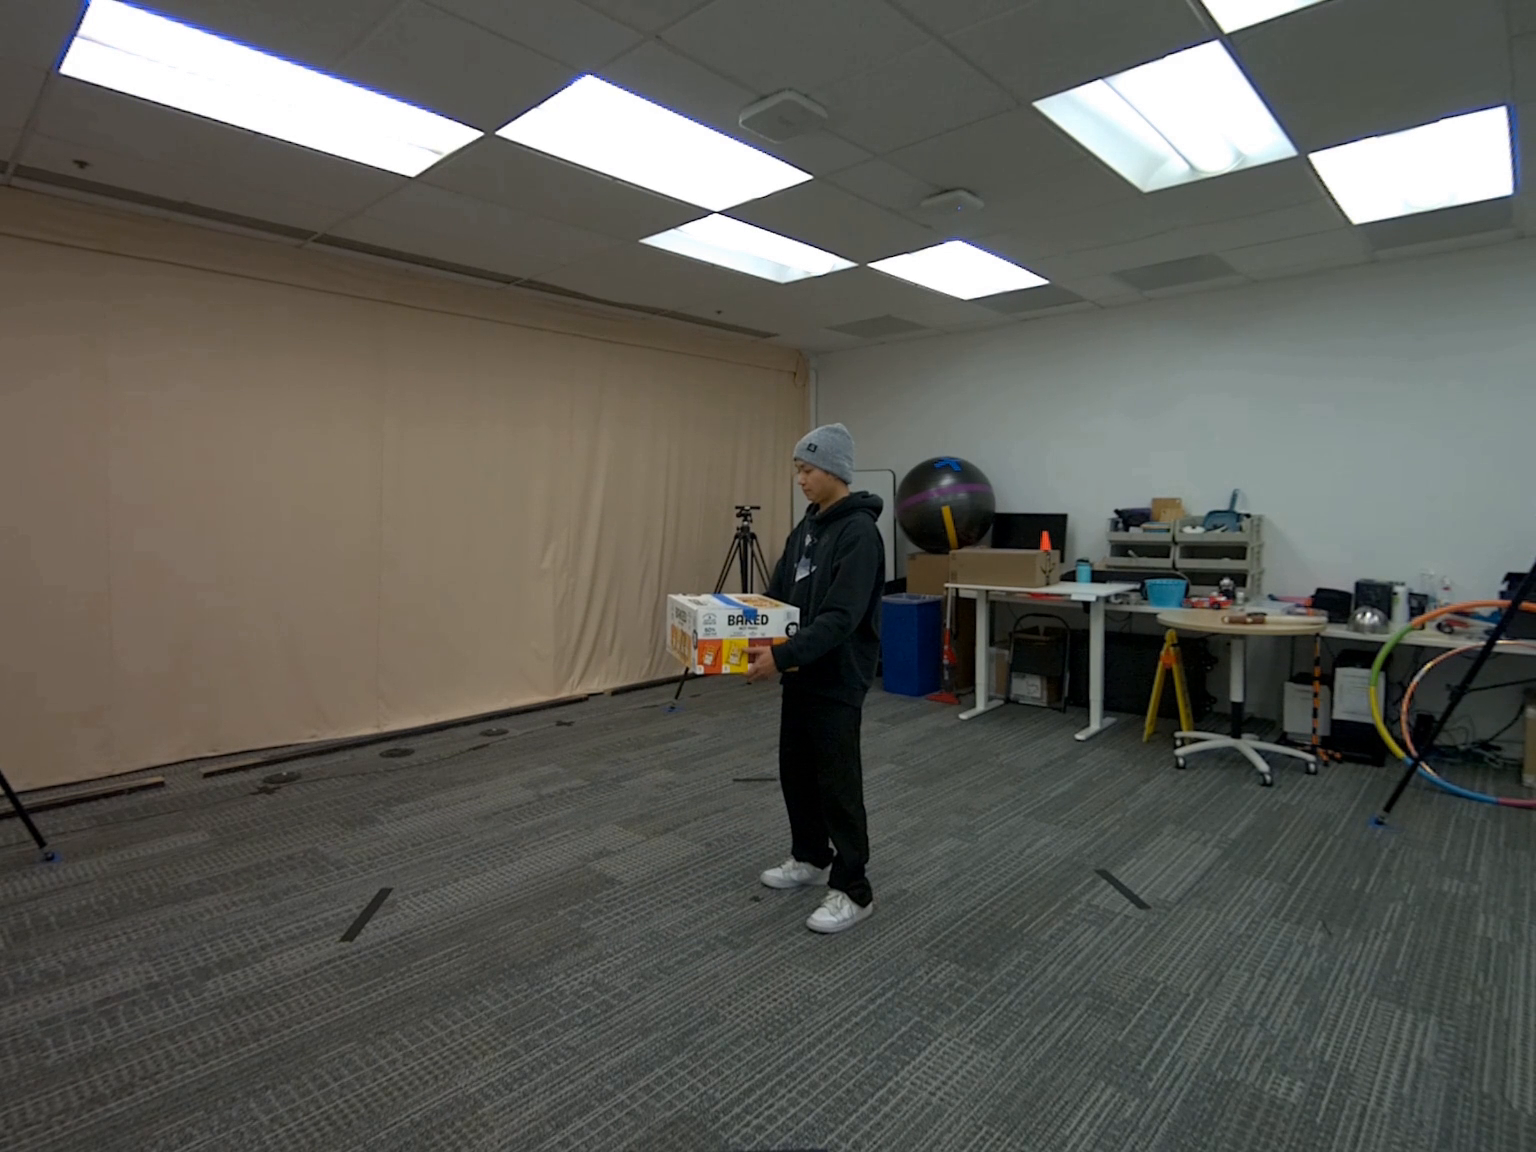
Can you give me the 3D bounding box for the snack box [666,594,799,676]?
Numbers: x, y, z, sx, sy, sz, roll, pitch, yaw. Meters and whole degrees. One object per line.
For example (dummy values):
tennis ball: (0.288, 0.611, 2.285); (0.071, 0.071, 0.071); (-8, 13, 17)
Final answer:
snack box: (-0.130, 0.187, 2.832); (0.334, 0.205, 0.413); (0, 5, -18)
